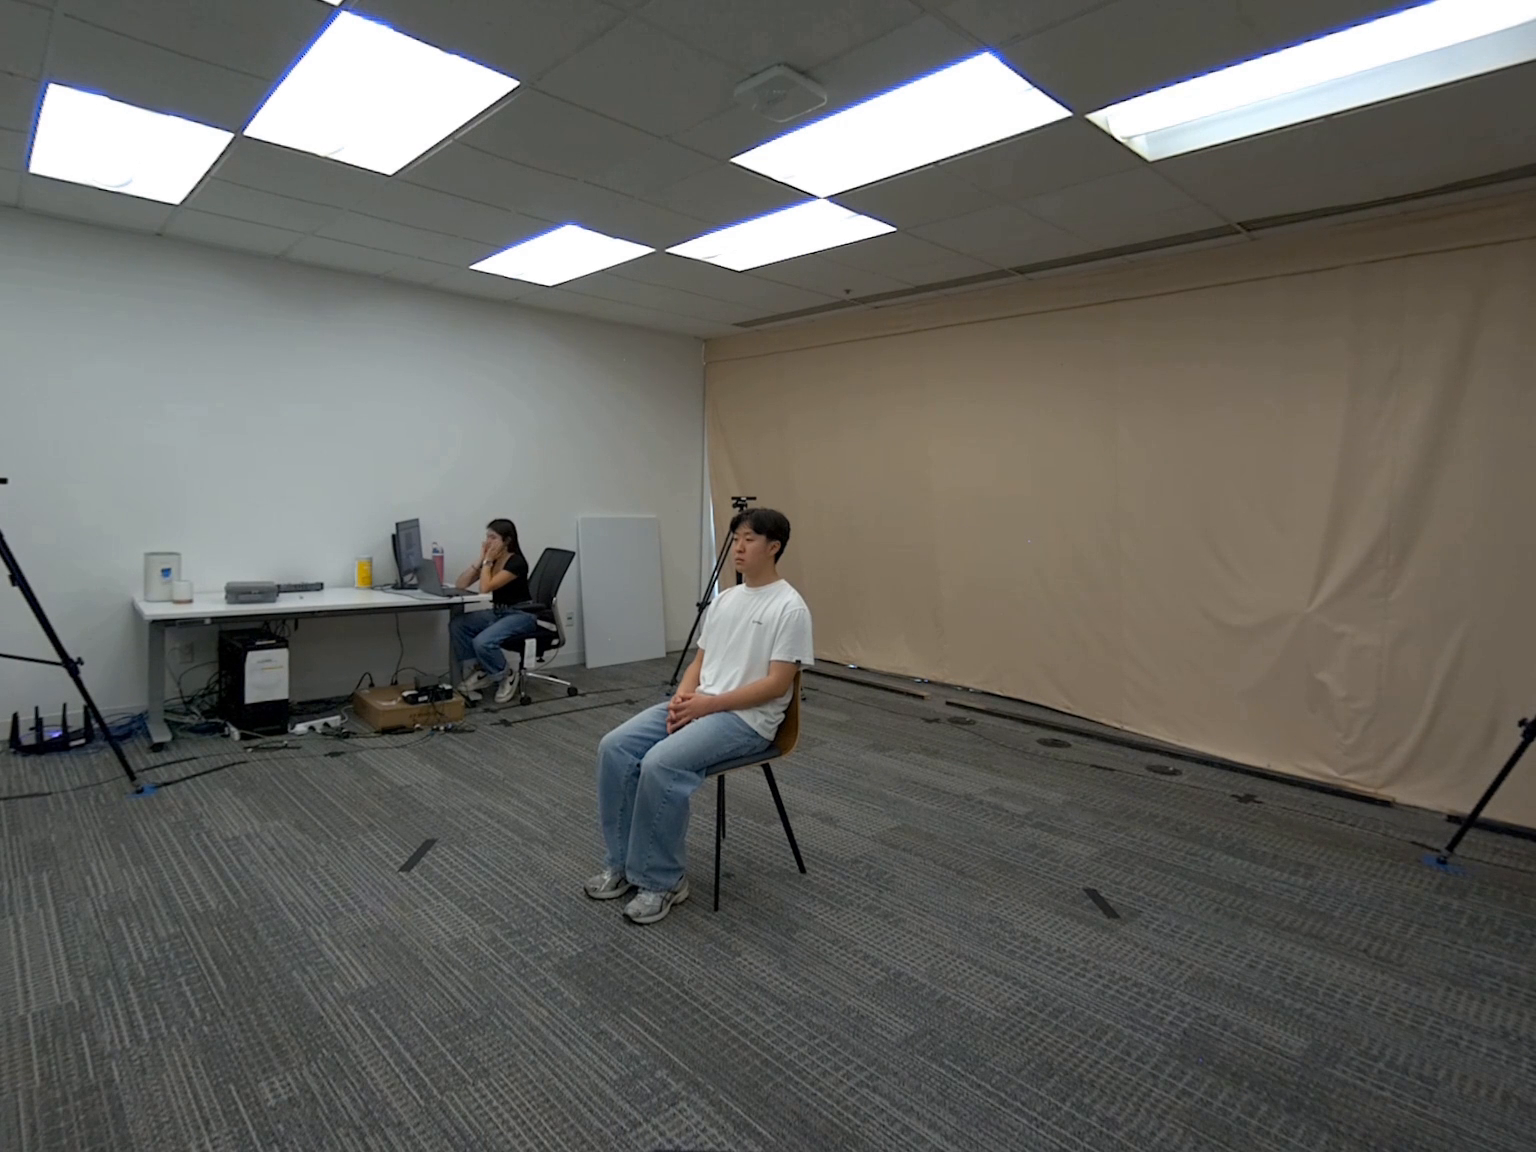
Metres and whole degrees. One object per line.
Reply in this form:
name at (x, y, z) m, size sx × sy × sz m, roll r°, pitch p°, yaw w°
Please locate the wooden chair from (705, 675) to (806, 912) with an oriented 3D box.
wooden chair at (-0.172, 0.678, 3.119) m, size 0.510 × 0.878 × 0.490 m, roll 5°, pitch -1°, yaw -45°
